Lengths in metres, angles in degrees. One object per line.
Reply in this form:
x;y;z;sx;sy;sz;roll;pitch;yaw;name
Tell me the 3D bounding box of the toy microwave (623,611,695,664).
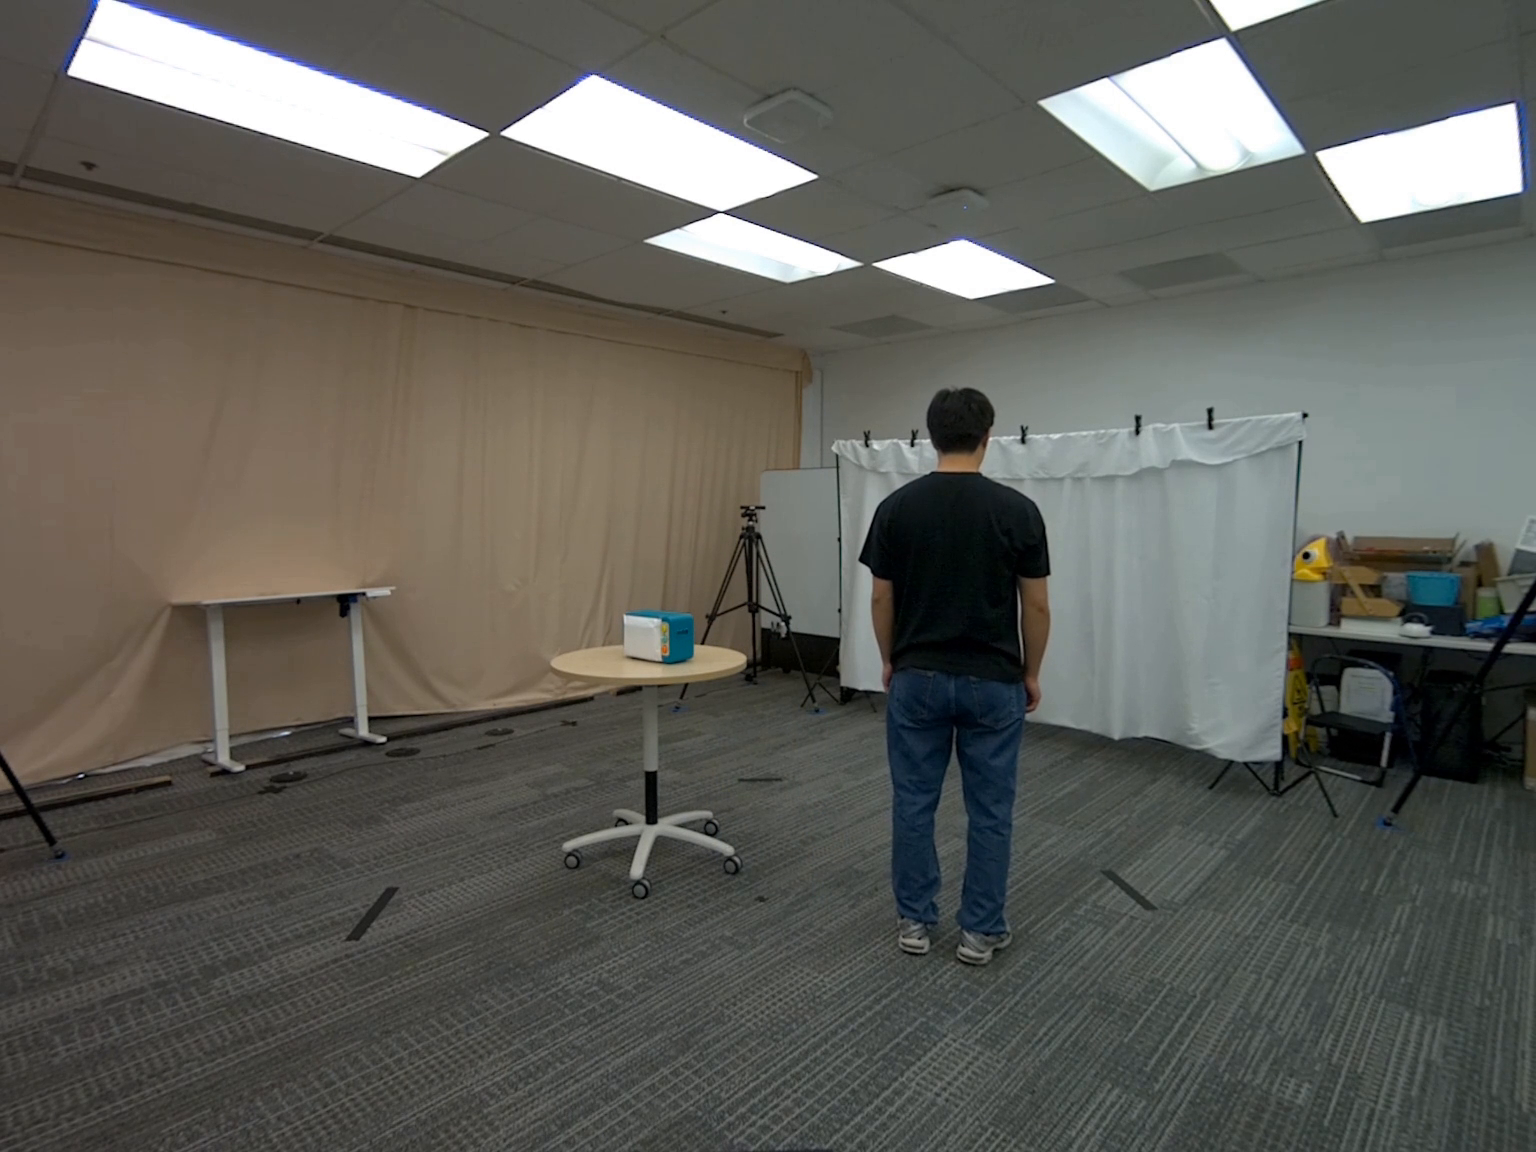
-0.435;0.234;3.286;0.295;0.184;0.148;3;4;41;toy microwave
